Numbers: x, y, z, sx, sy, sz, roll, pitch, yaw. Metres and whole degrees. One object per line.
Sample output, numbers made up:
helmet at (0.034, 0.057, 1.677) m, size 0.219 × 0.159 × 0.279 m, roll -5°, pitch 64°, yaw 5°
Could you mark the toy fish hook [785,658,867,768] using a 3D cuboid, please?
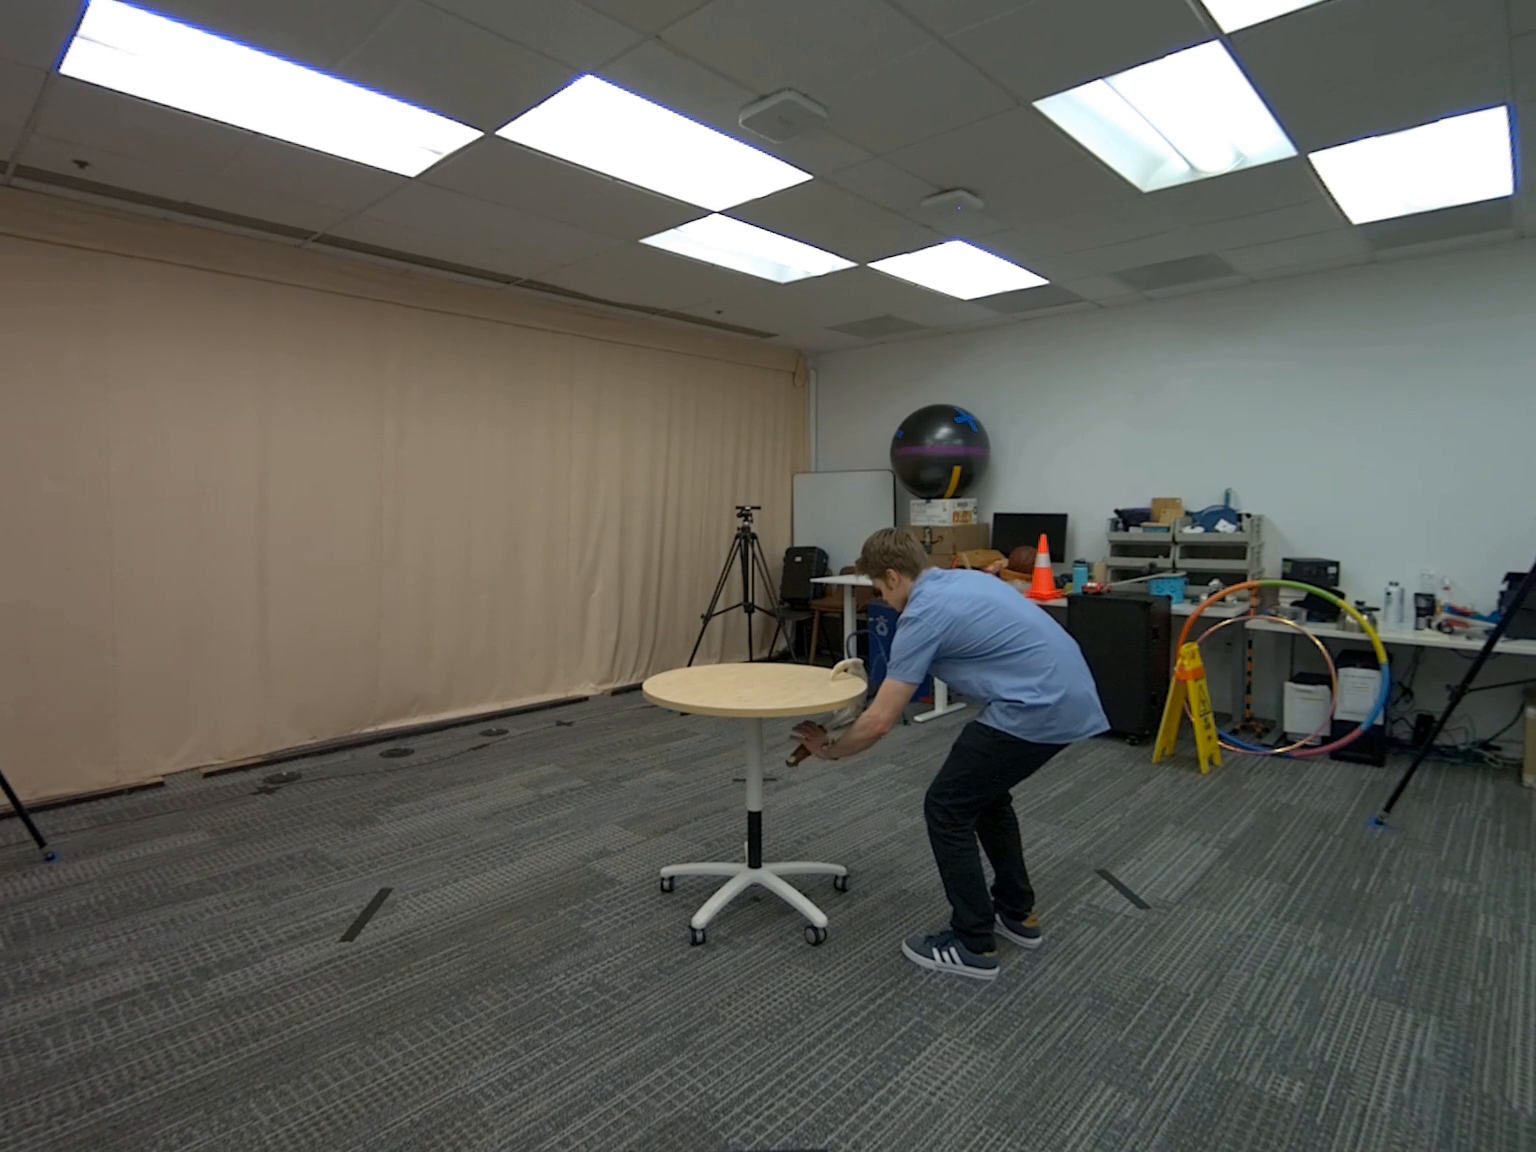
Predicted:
toy fish hook at (0.213, 0.465, 2.920) m, size 0.050 × 0.221 × 0.499 m, roll -4°, pitch 24°, yaw 45°
